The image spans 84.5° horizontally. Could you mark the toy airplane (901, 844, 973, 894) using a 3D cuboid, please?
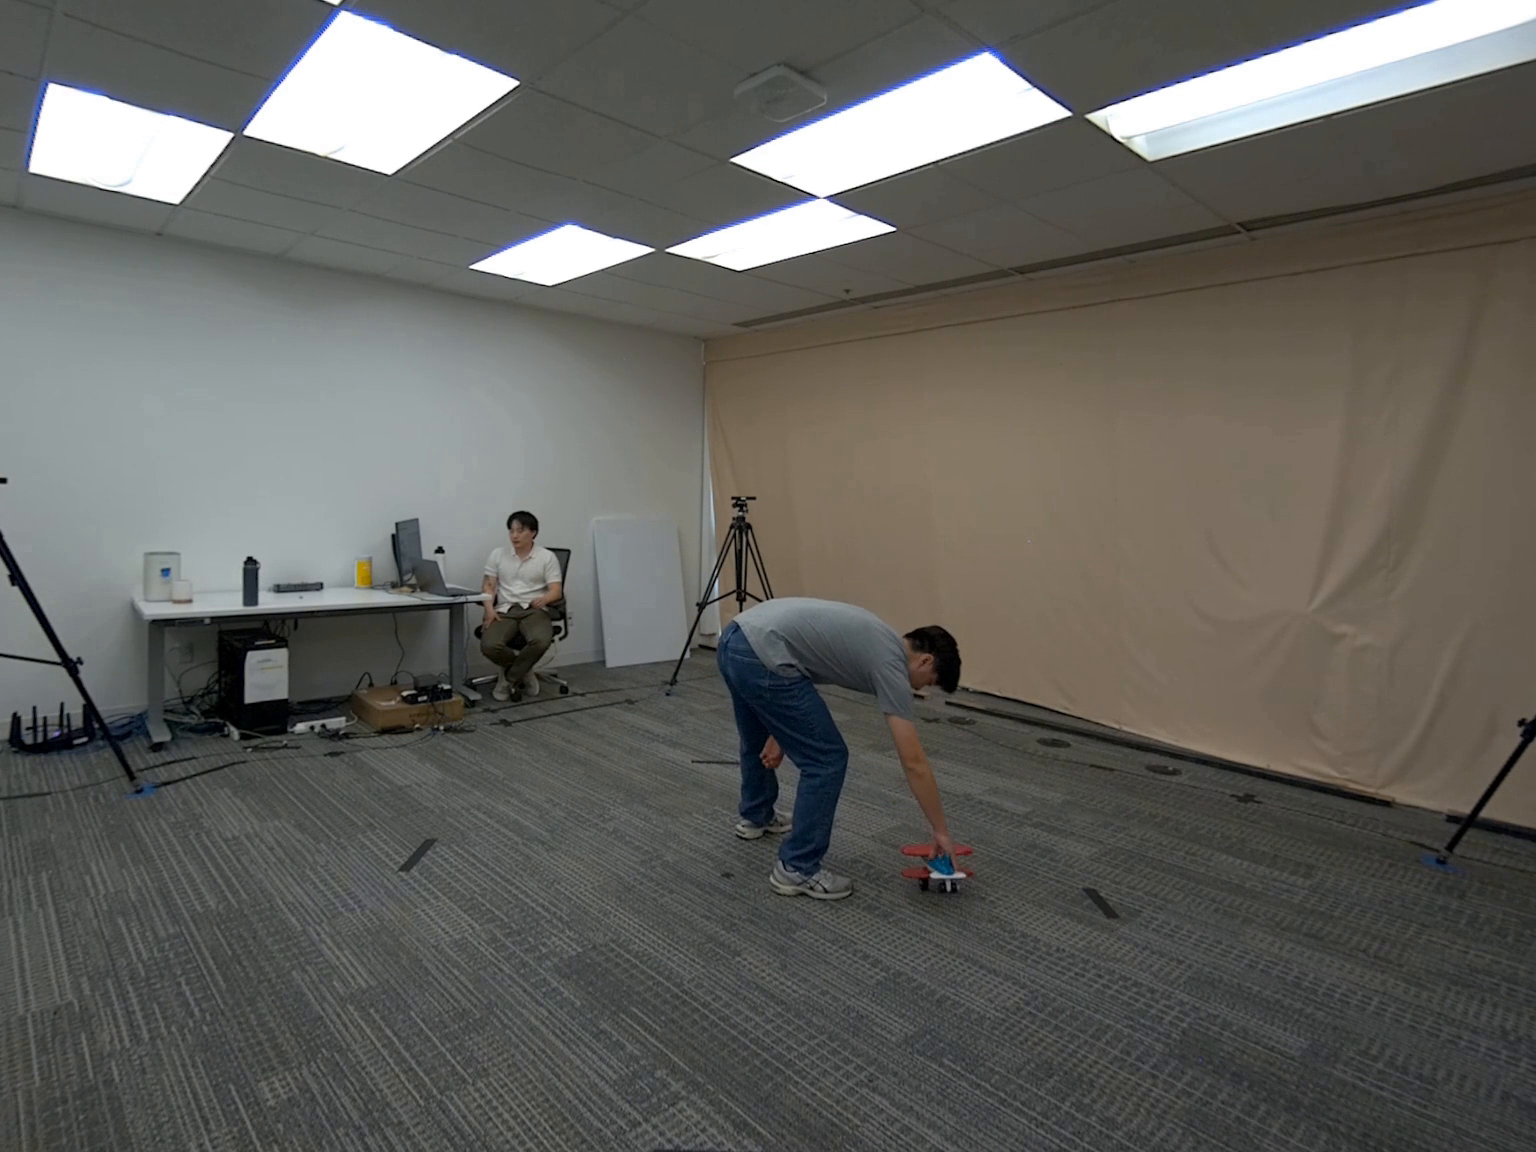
[{"bbox_3d":[0.606,1.035,2.979,0.245,0.158,0.261,8,-20,-28],"label":"toy airplane"}]
